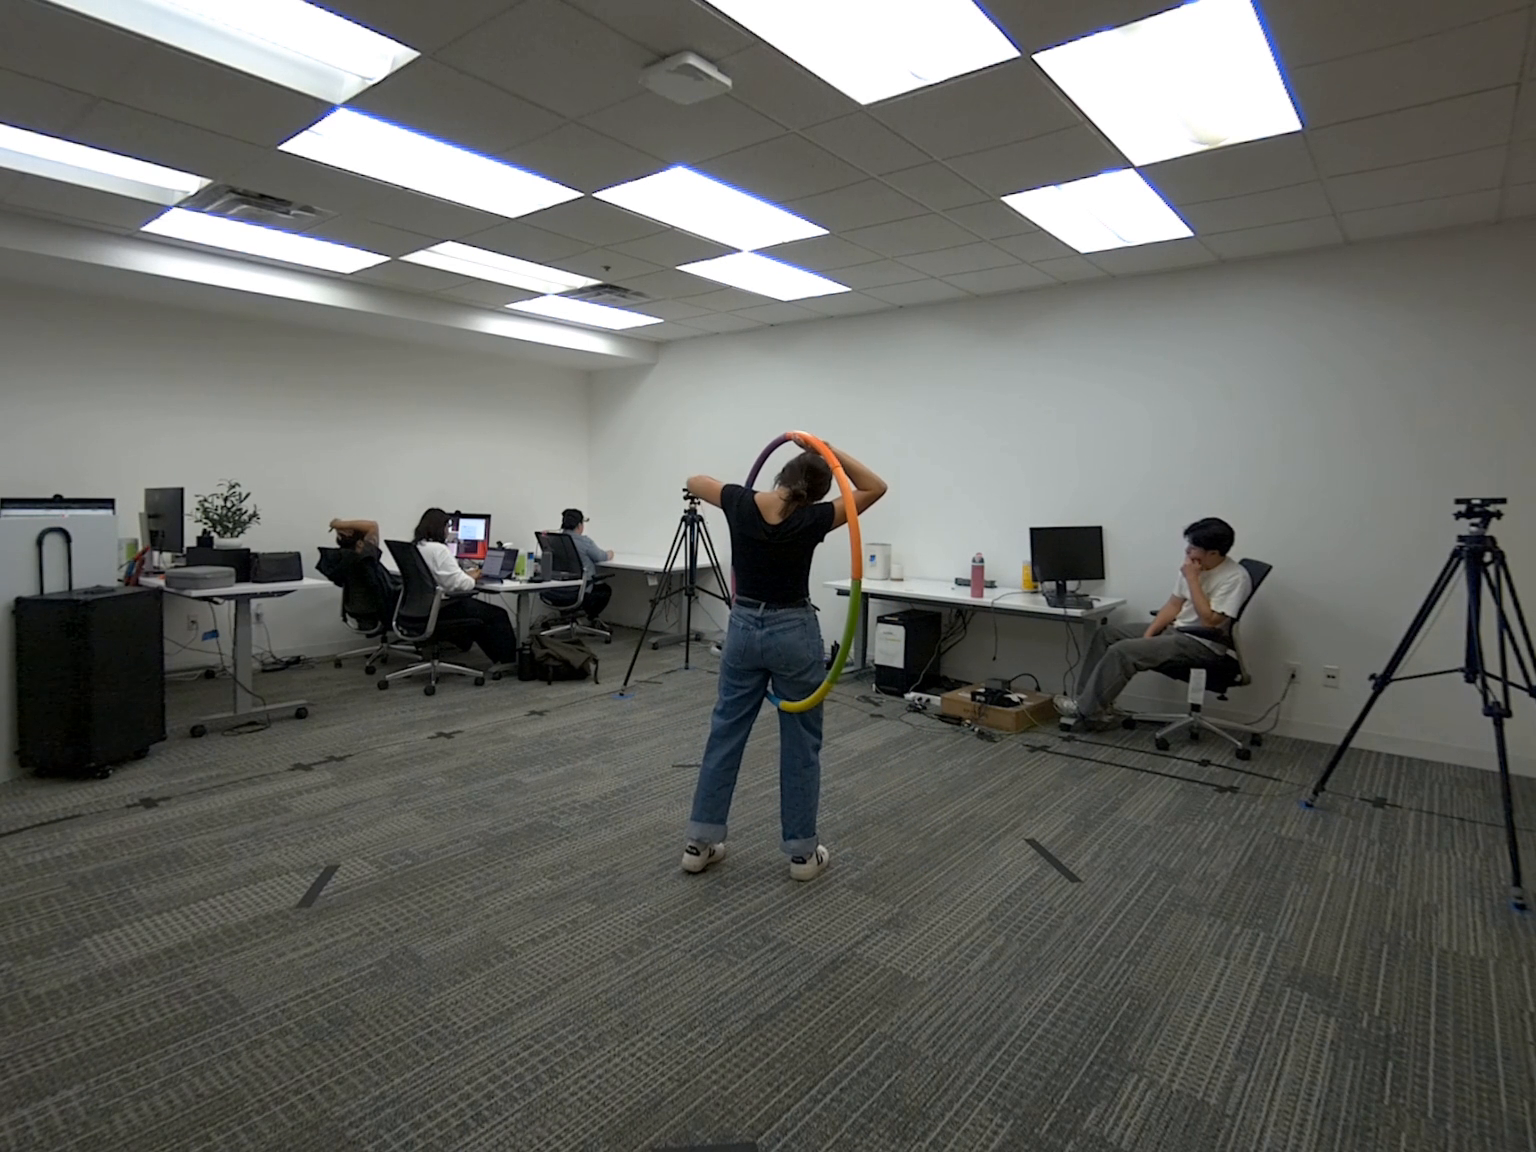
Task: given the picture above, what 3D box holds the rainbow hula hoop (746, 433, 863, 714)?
[{"bbox_3d":[0.068,-0.037,3.057,0.035,0.976,1.006,1,4,-26],"label":"rainbow hula hoop"}]
